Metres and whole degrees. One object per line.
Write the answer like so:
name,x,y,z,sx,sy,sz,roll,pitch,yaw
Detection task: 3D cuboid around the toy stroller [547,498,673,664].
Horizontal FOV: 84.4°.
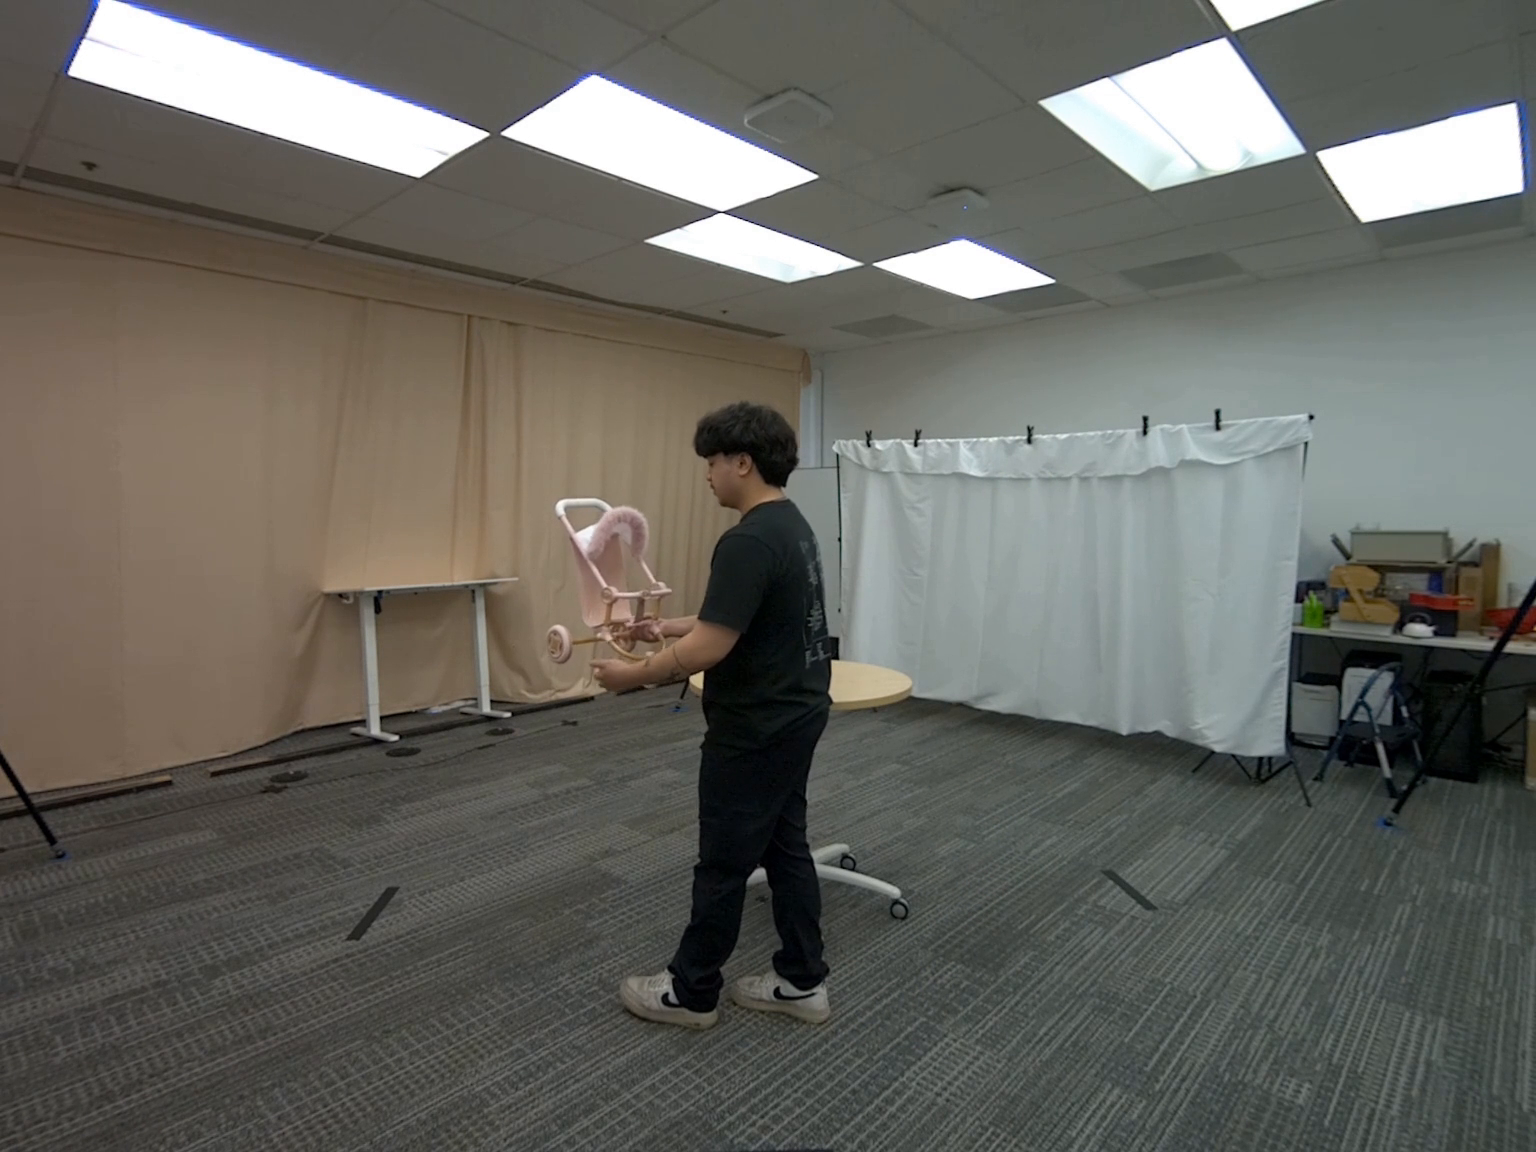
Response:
toy stroller,-0.440,0.041,2.394,0.352,0.535,0.272,1,1,44
